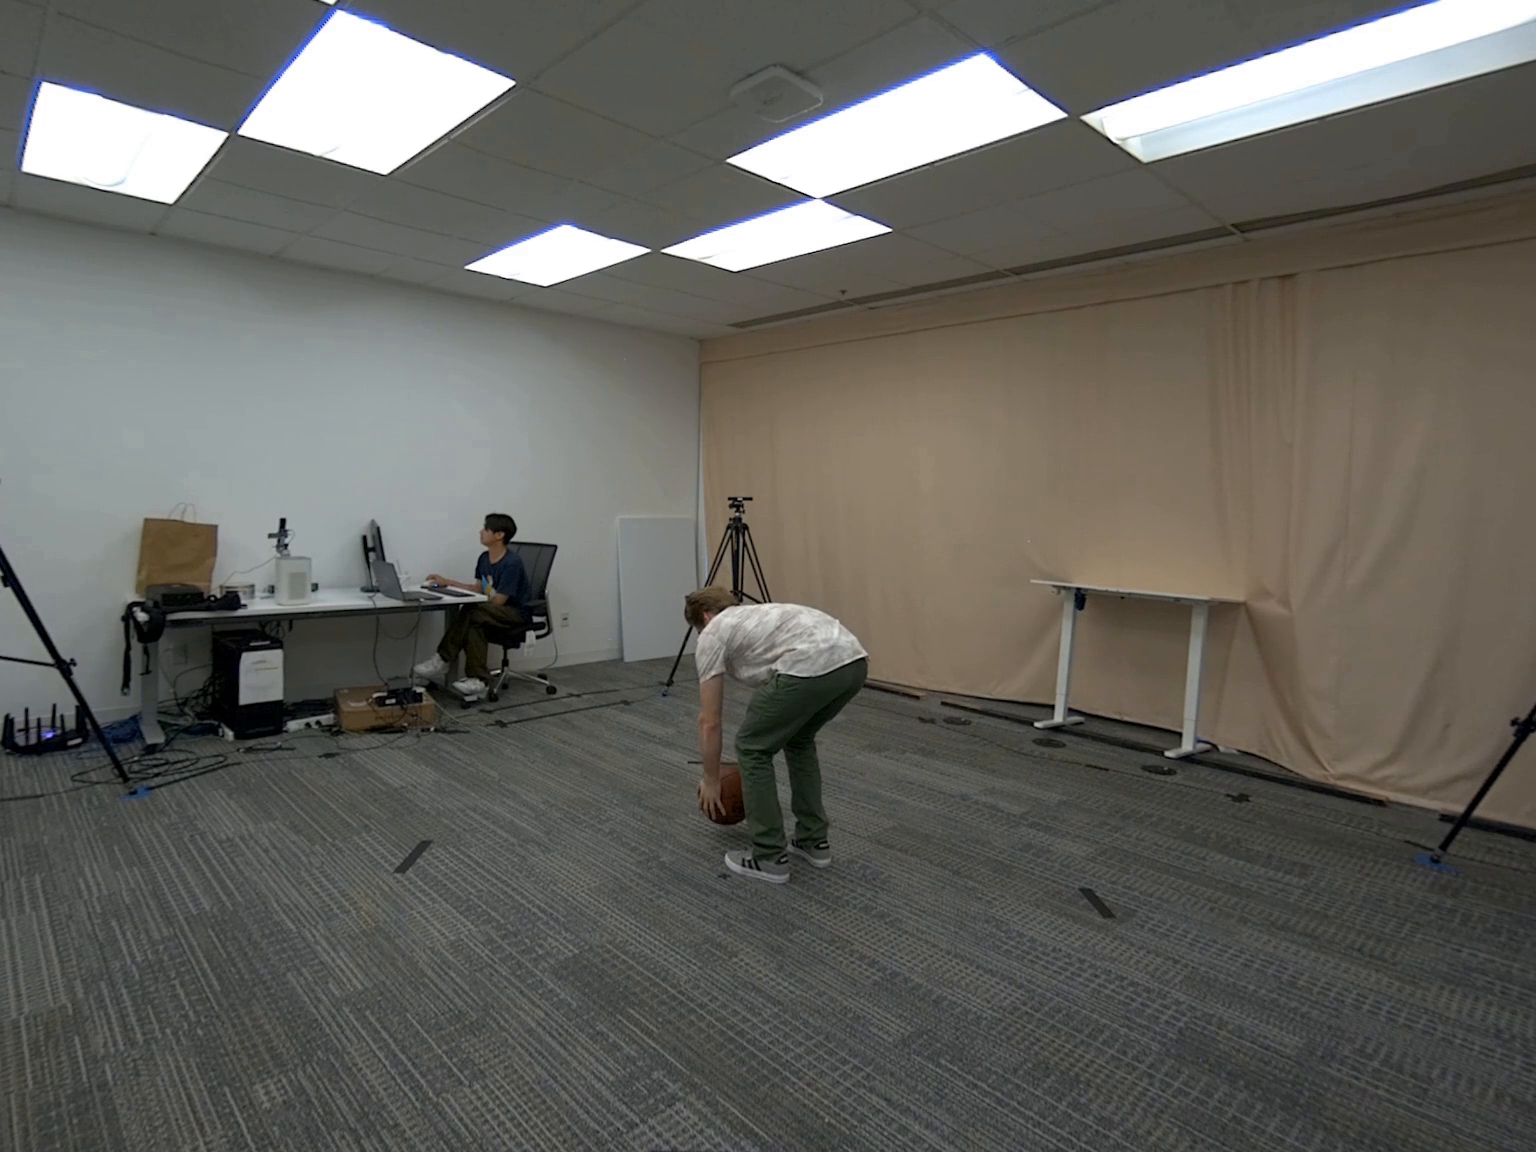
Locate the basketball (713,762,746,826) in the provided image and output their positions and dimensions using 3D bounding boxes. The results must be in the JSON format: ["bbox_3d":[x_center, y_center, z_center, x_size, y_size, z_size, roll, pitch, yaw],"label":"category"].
[{"bbox_3d":[-0.168,0.892,3.458,0.236,0.235,0.237,1,4,-1],"label":"basketball"}]
